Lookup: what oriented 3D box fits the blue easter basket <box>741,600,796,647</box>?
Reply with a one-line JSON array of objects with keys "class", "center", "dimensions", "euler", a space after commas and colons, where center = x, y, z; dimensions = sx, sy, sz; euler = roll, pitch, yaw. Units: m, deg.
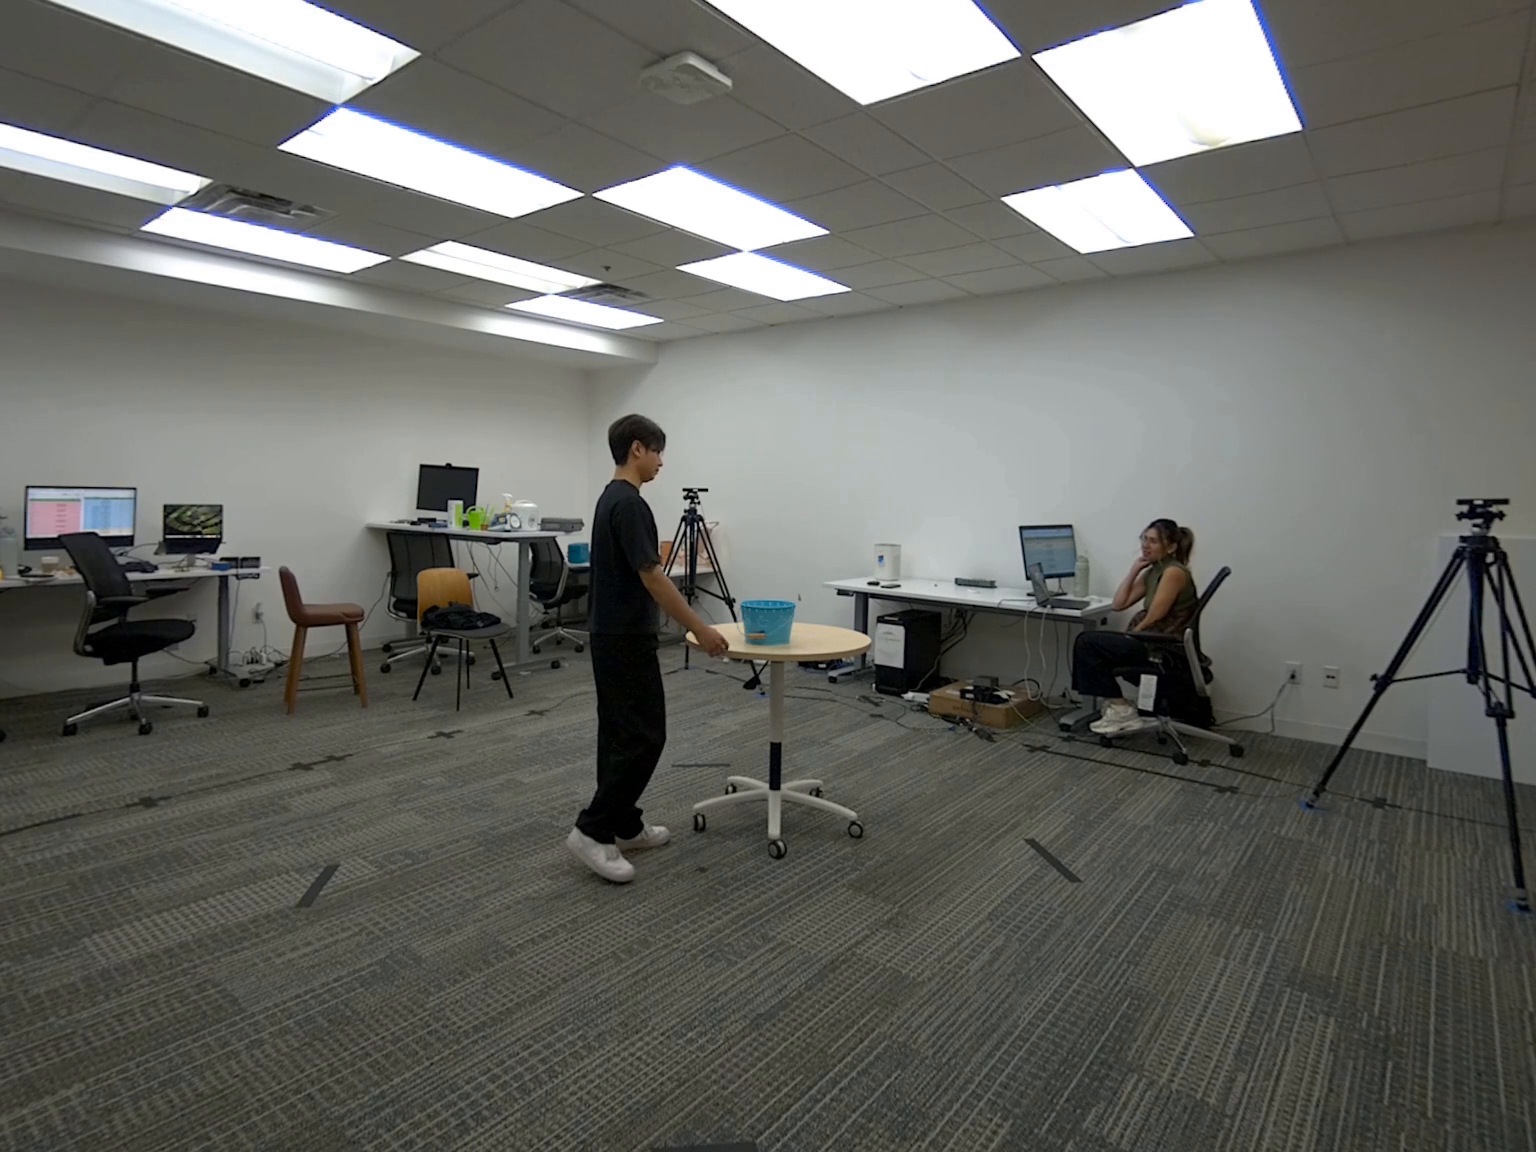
[{"class": "blue easter basket", "center": [-0.015, 0.186, 3.444], "dimensions": [0.243, 0.155, 0.245], "euler": [1, 5, -2]}]
